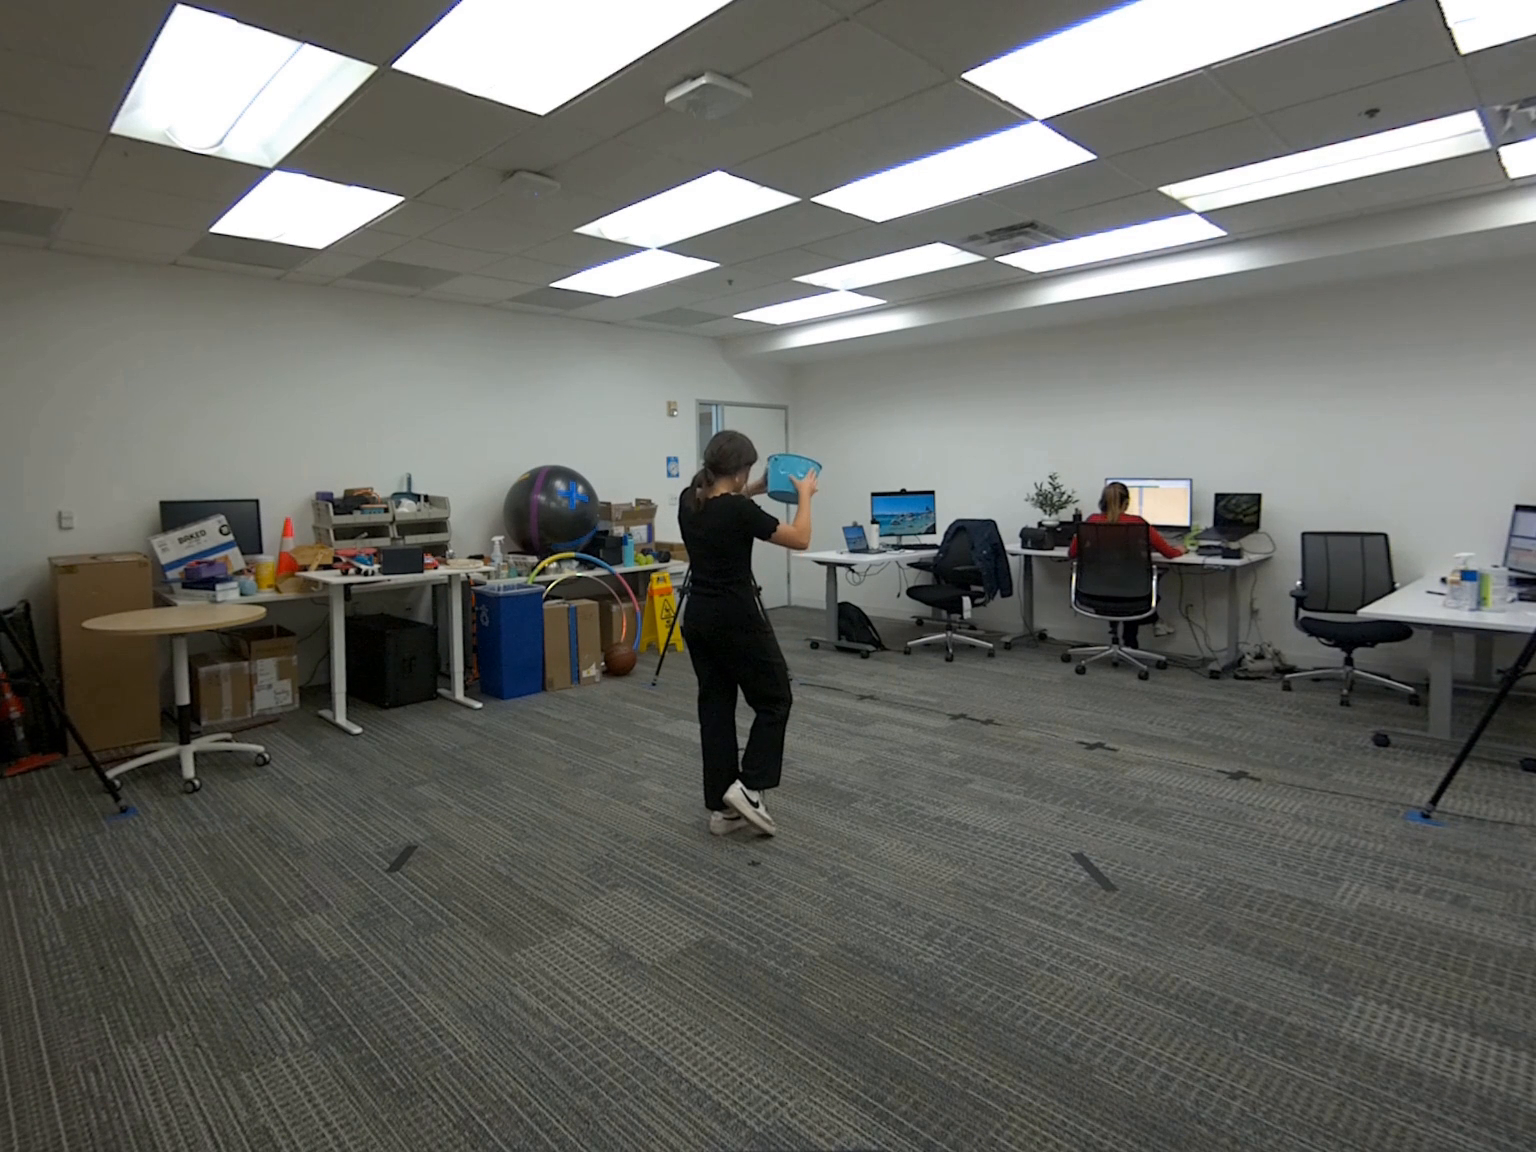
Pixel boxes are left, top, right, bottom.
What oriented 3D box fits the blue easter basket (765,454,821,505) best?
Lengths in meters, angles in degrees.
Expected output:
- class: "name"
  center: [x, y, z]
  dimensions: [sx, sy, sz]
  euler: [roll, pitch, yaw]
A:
- class: "blue easter basket"
  center: [0.096, -0.400, 3.576]
  dimensions: [0.244, 0.157, 0.241]
  euler: [11, -10, 0]
